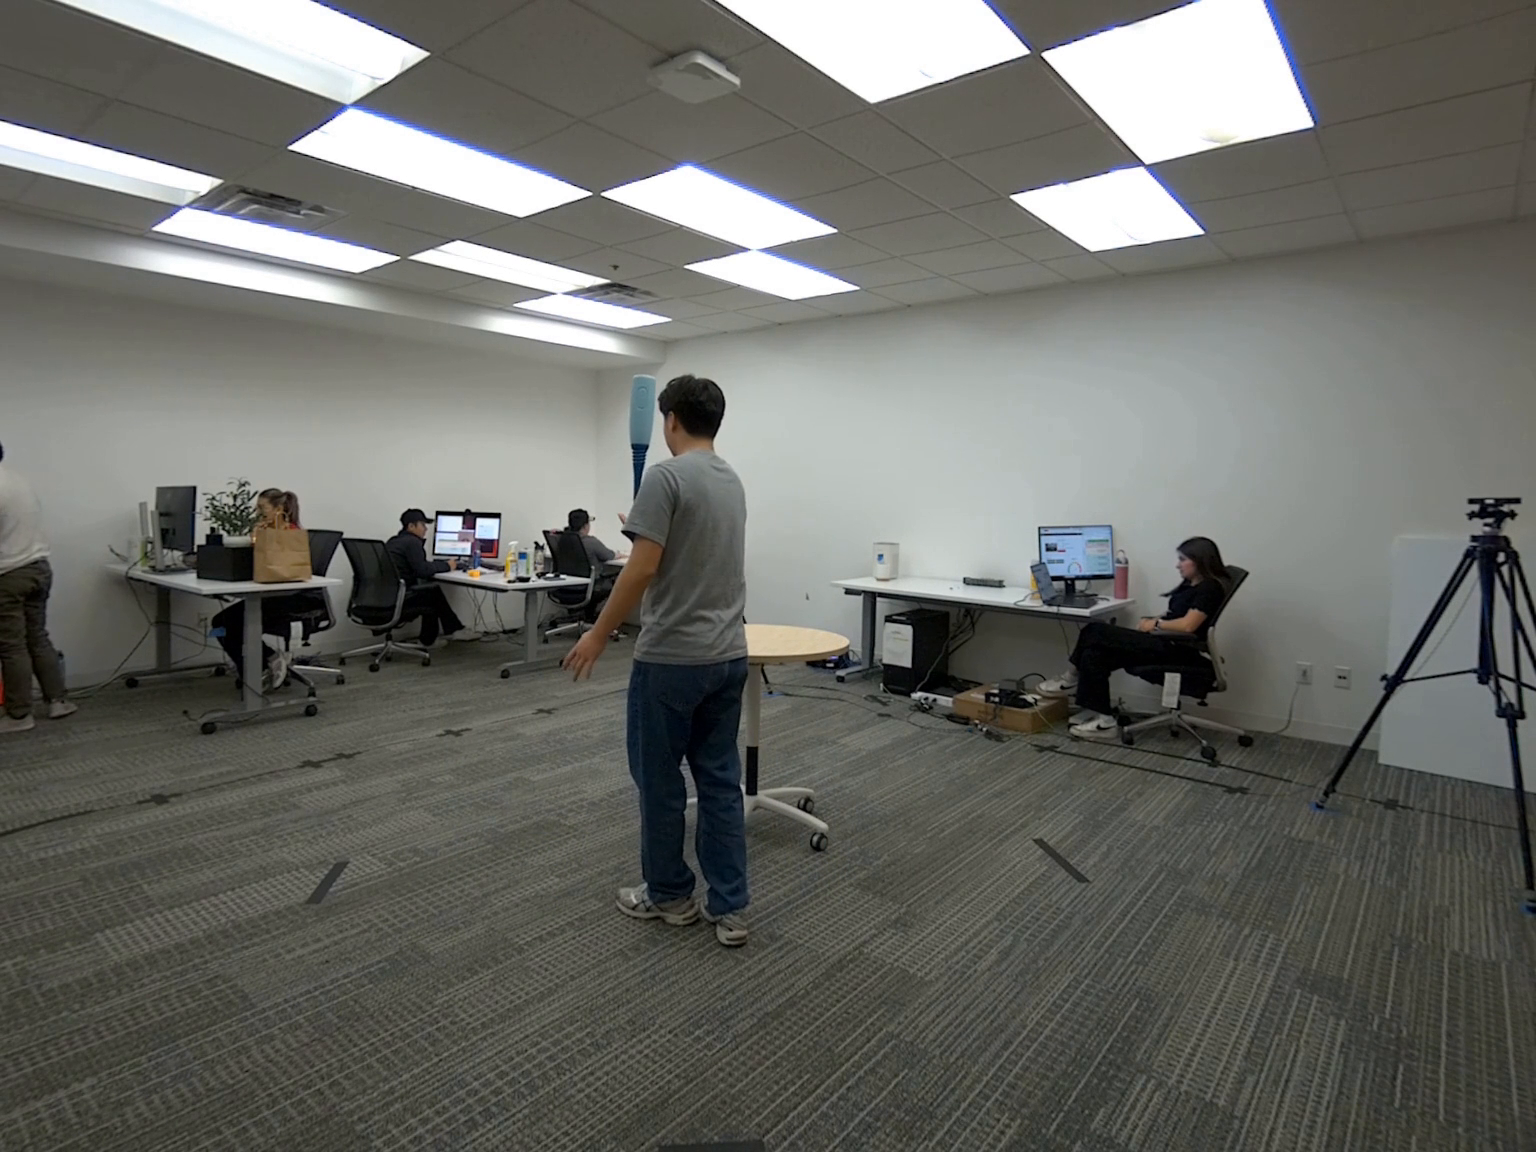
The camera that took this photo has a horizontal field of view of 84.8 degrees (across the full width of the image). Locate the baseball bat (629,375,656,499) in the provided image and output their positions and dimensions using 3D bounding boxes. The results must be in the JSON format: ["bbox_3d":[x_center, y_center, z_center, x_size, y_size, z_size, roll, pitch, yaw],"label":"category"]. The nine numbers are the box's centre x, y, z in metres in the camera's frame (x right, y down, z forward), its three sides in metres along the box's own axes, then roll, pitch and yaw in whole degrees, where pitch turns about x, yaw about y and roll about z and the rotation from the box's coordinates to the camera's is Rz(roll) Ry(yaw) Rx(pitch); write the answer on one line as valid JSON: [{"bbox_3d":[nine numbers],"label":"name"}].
[{"bbox_3d":[-0.481,-0.464,3.099,0.089,0.543,0.089,3,0,-2],"label":"baseball bat"}]
